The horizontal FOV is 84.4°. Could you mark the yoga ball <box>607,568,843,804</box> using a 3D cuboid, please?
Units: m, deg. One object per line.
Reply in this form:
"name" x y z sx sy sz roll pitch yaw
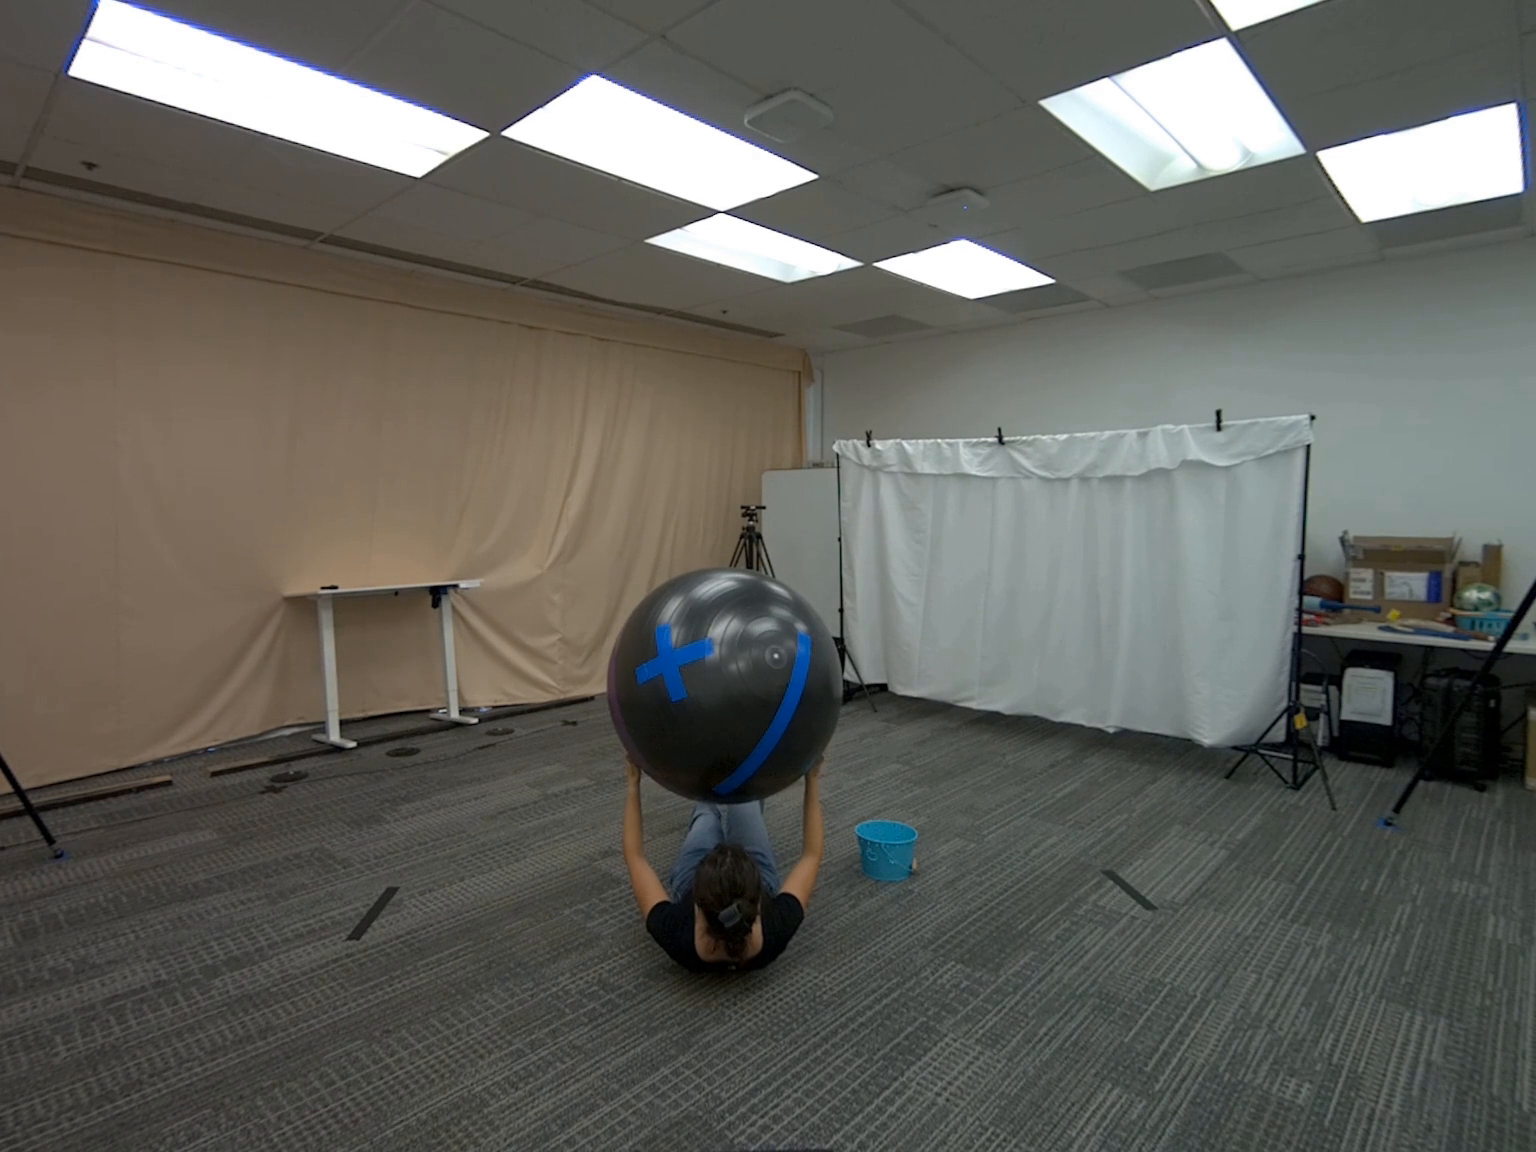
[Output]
"yoga ball" -0.141 0.354 2.734 0.757 0.756 0.760 0 4 -2
